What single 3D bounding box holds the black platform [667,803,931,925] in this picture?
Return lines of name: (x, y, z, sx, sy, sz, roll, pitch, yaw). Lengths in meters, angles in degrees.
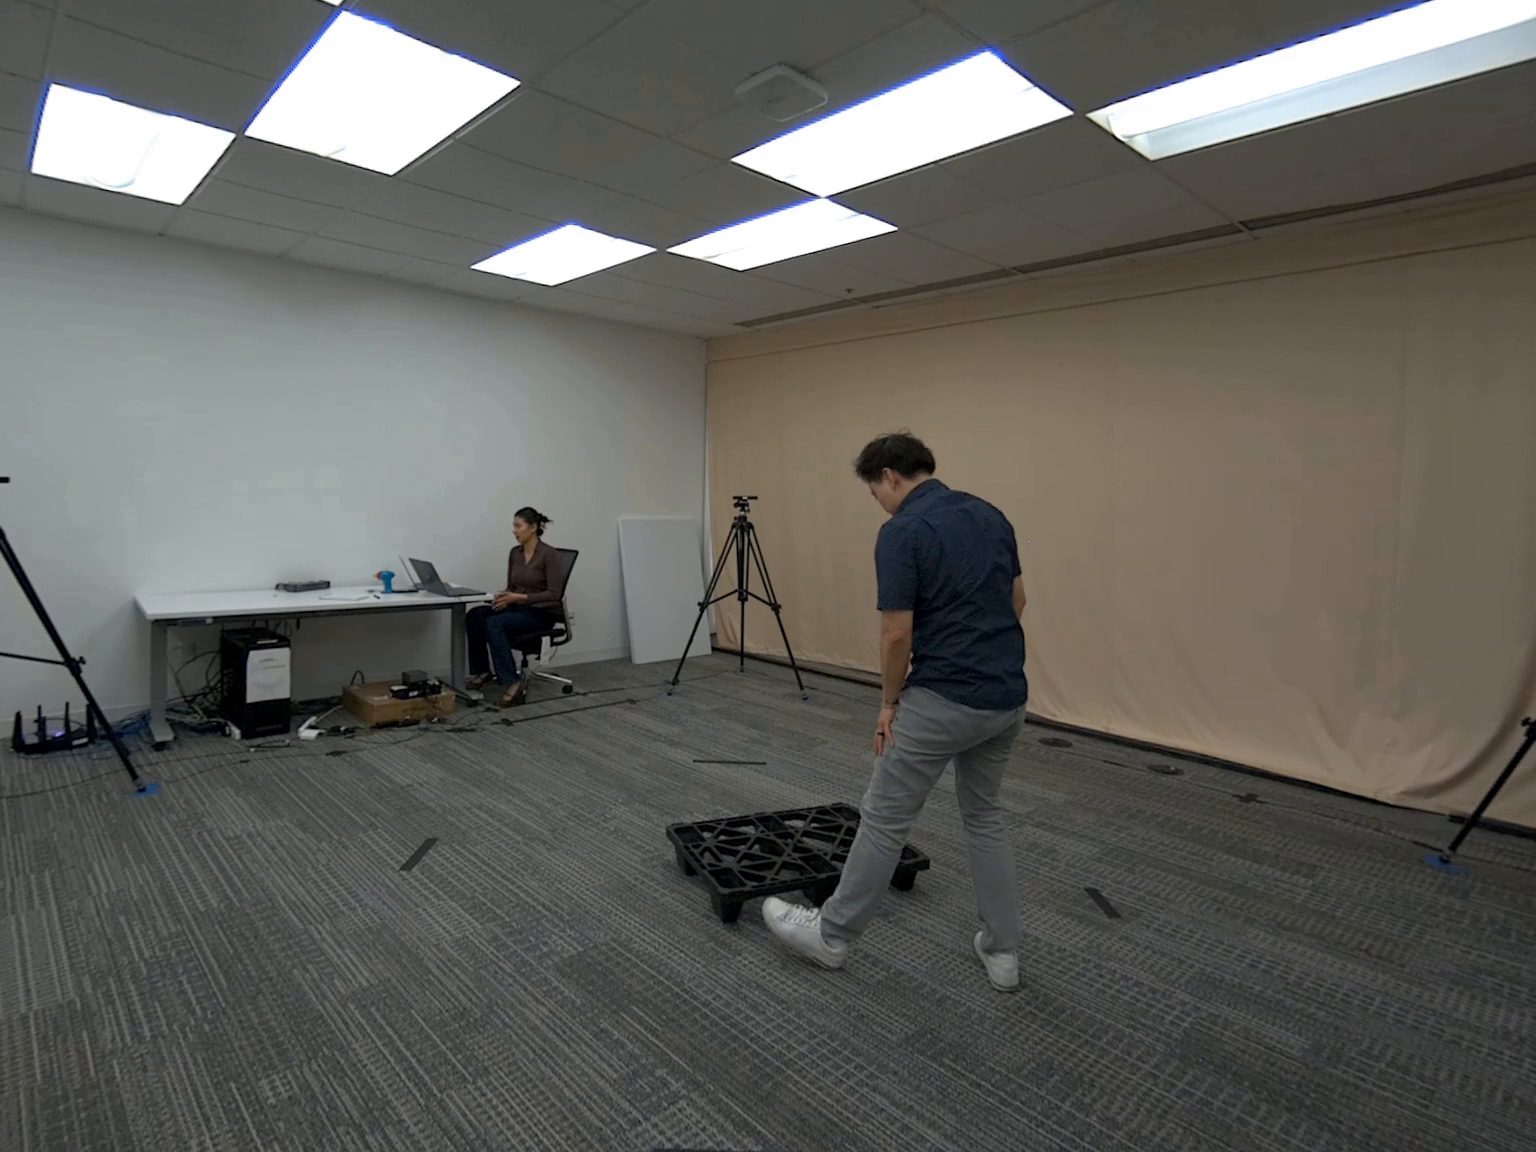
black platform: (0.089, 1.043, 3.090, 0.792, 0.143, 0.617, -1, 6, -23)
